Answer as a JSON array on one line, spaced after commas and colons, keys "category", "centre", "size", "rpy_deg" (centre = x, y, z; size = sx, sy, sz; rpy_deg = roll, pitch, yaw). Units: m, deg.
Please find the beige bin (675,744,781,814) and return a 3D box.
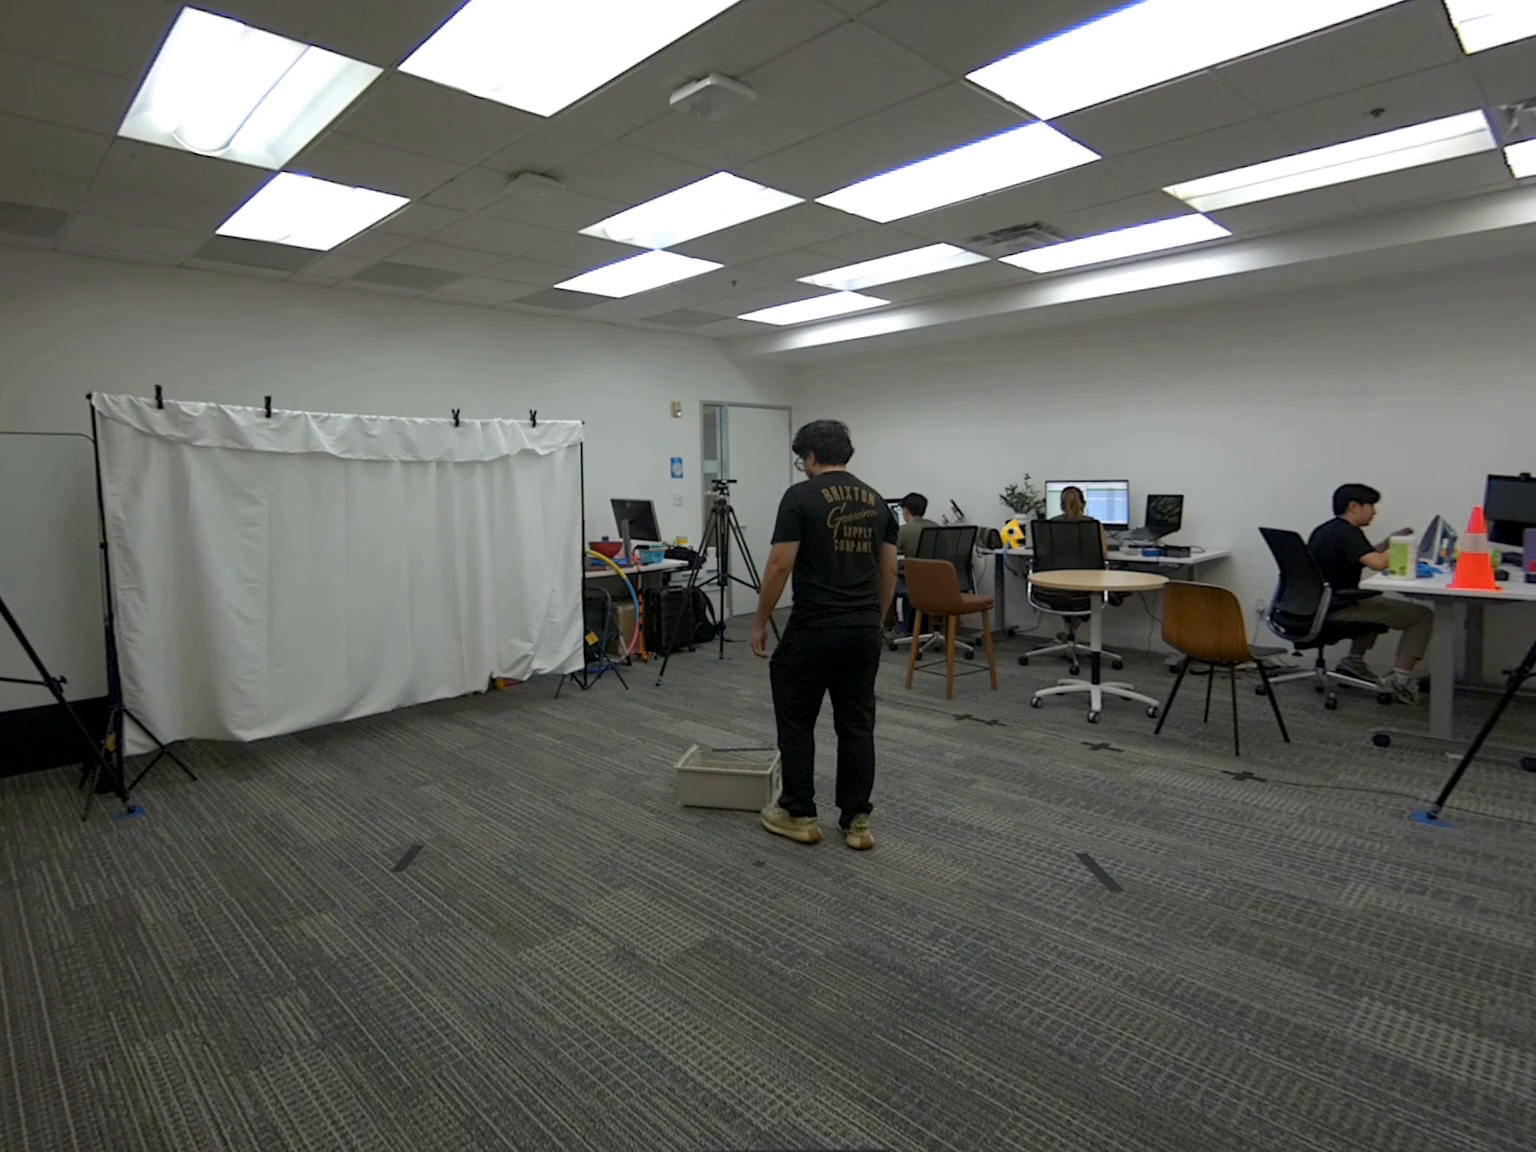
[{"category": "beige bin", "centre": [-0.164, 0.887, 3.790], "size": [0.428, 0.188, 0.374], "rpy_deg": [1, 7, 13]}]
